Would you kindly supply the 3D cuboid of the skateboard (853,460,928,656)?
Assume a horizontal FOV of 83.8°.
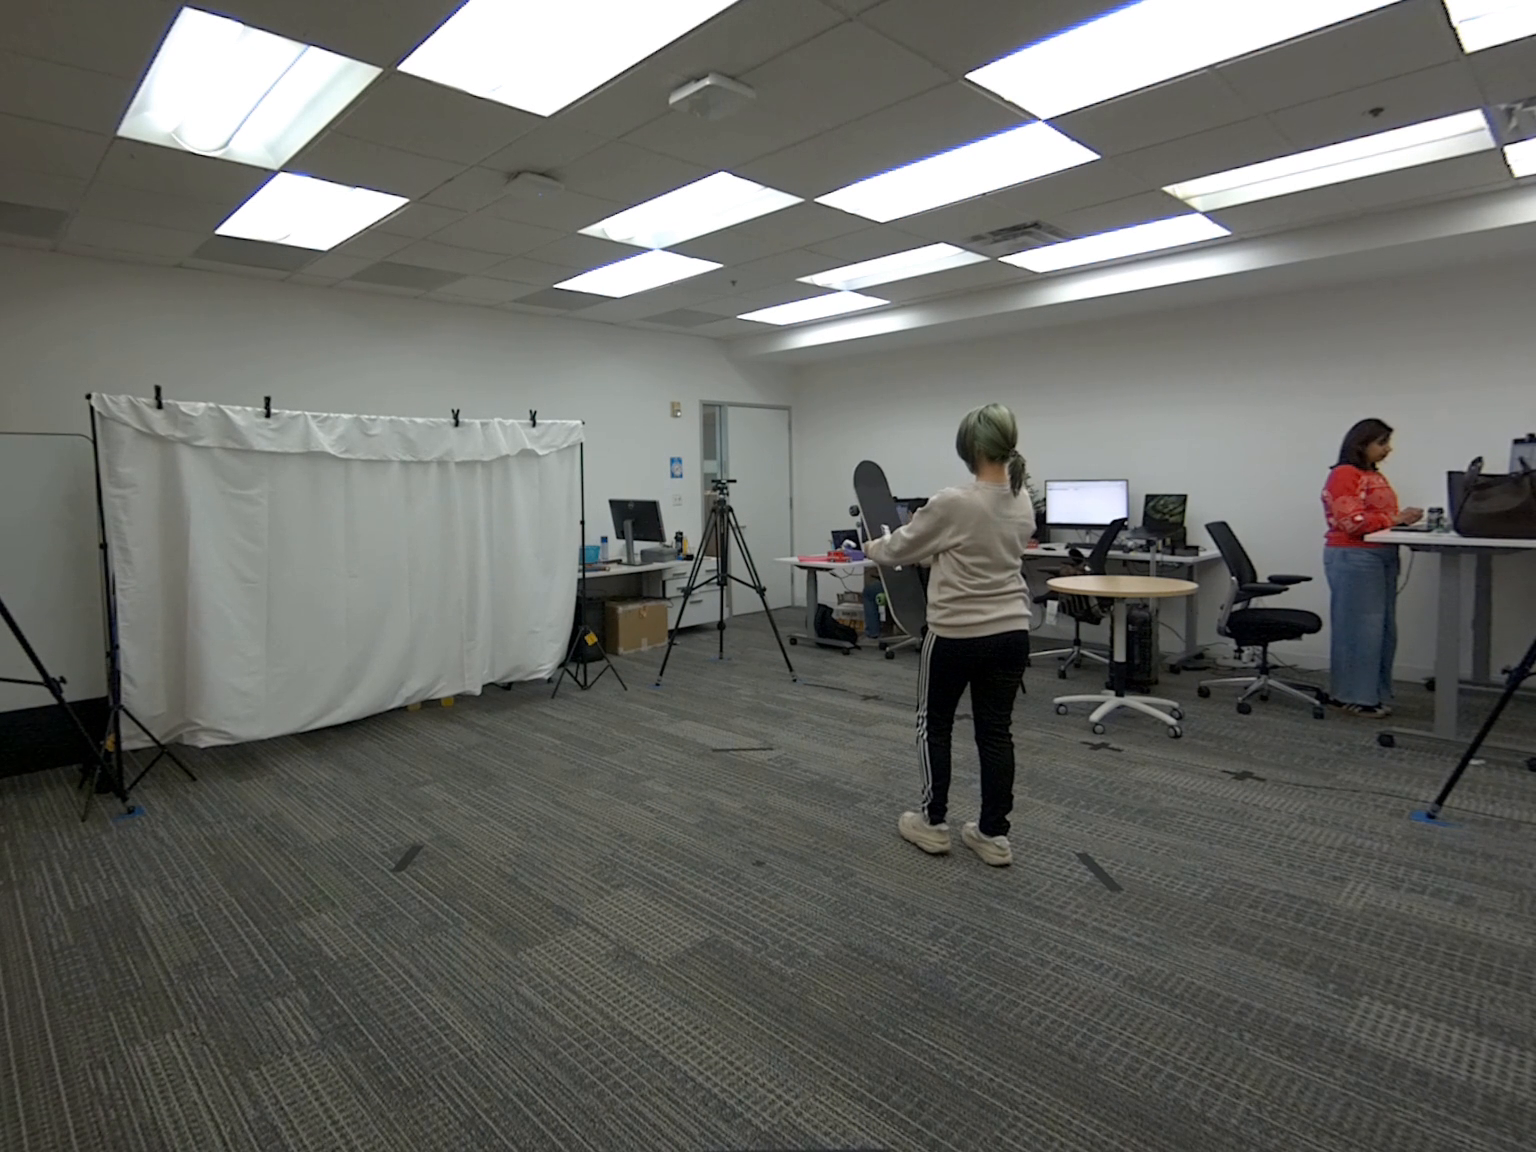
[{"bbox_3d":[0.496,-0.108,3.578,0.189,0.801,0.111,-4,-21,-33],"label":"skateboard"}]
